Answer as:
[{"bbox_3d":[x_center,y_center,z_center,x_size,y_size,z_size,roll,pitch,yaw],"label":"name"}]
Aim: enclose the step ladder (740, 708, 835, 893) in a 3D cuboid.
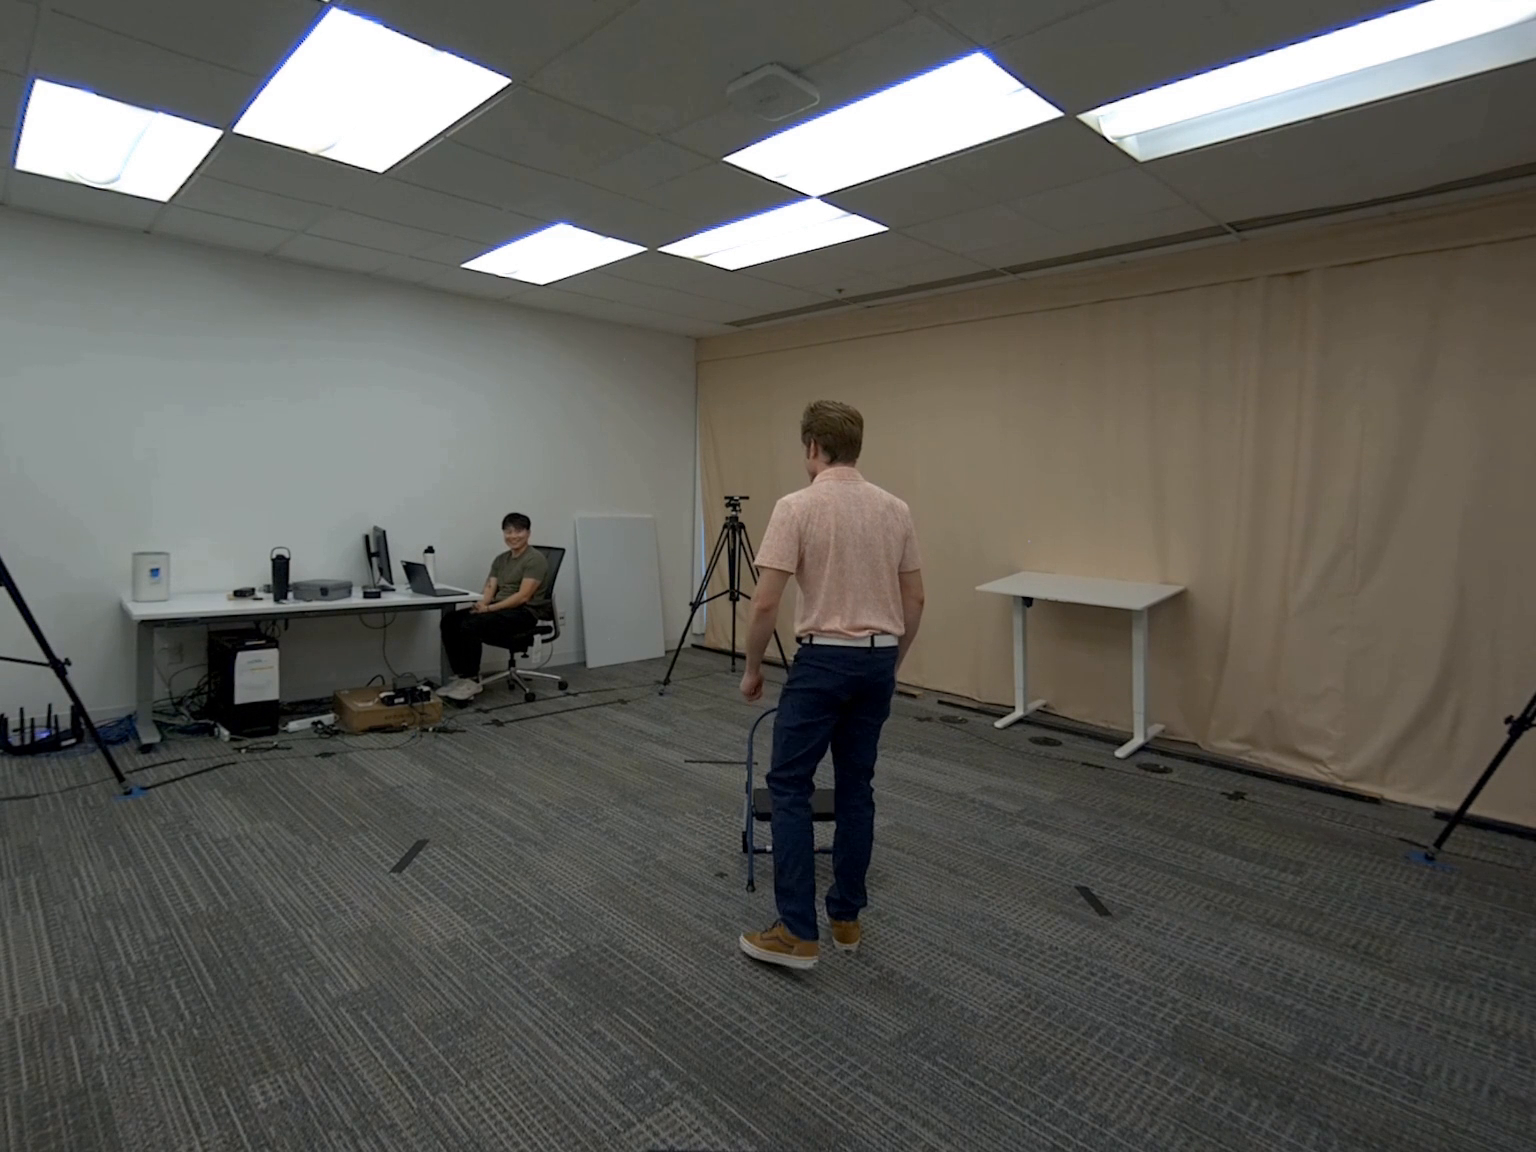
[{"bbox_3d":[0.122,0.808,3.149,0.429,0.605,0.351,2,3,-6],"label":"step ladder"}]
